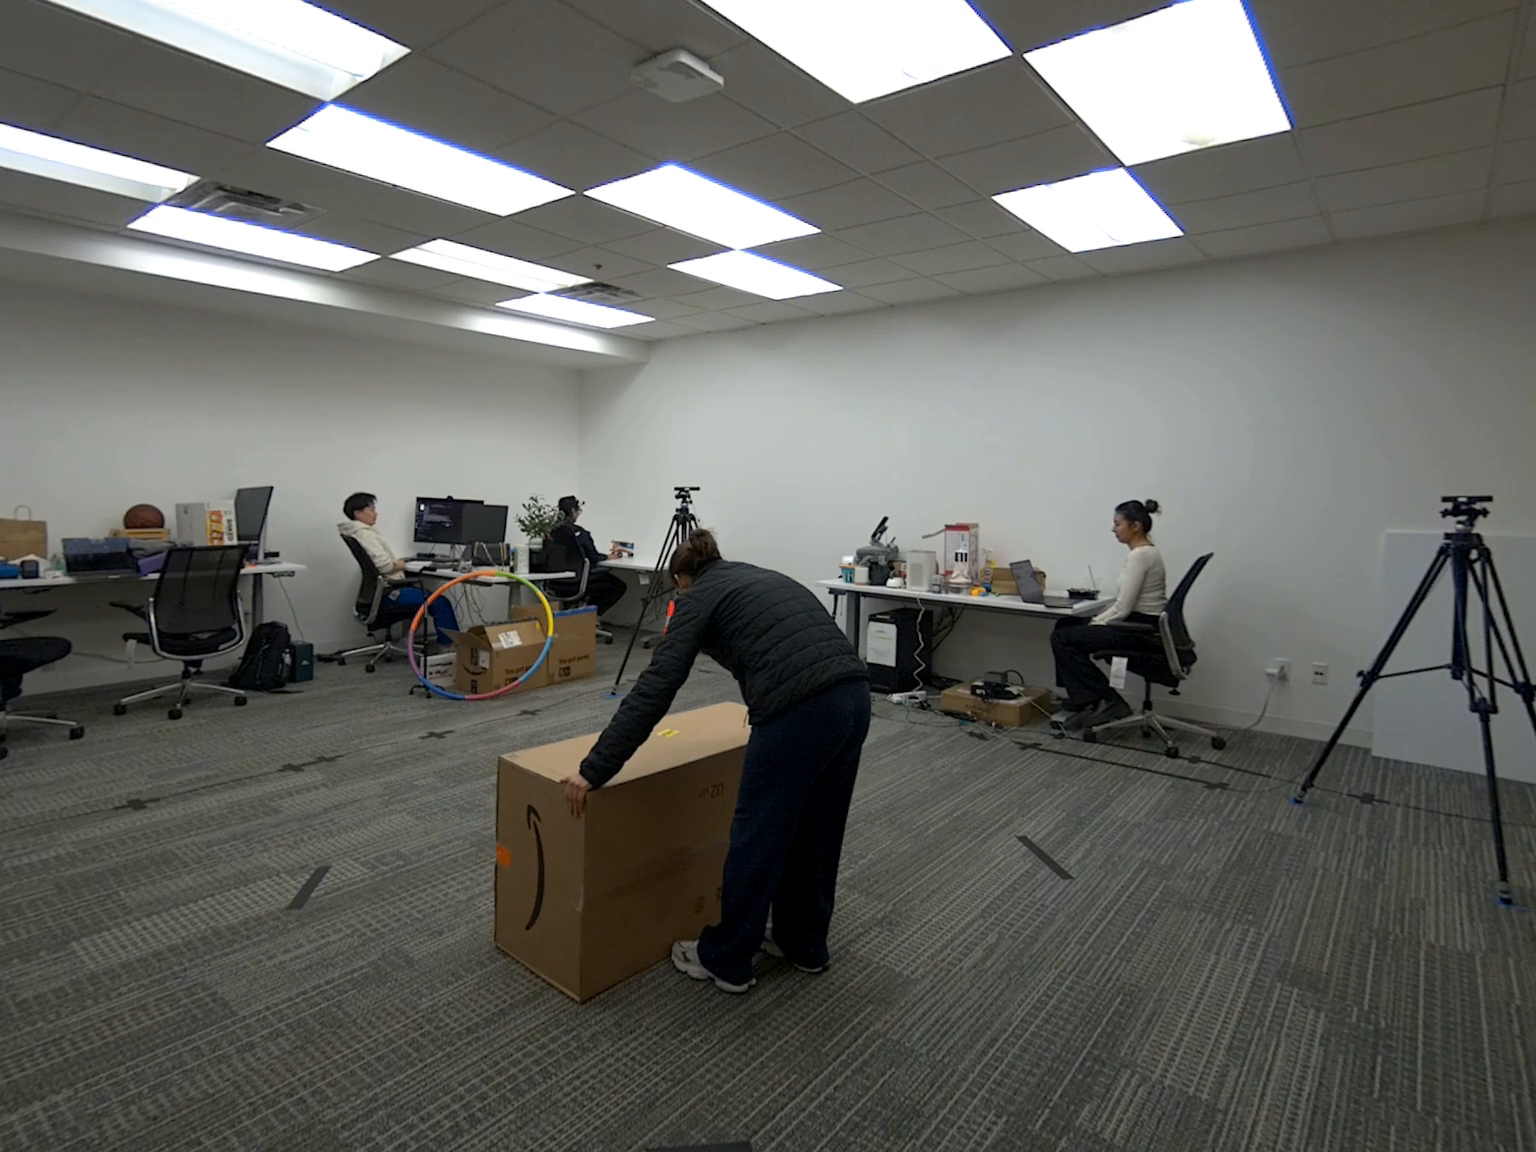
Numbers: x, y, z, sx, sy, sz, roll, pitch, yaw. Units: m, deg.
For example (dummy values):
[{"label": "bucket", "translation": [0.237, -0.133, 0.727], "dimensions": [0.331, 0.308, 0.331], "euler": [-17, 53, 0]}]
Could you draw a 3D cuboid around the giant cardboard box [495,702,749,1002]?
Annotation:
[{"label": "giant cardboard box", "translation": [-0.325, 0.812, 2.789], "dimensions": [0.462, 0.582, 0.996], "euler": [4, 5, 42]}]
